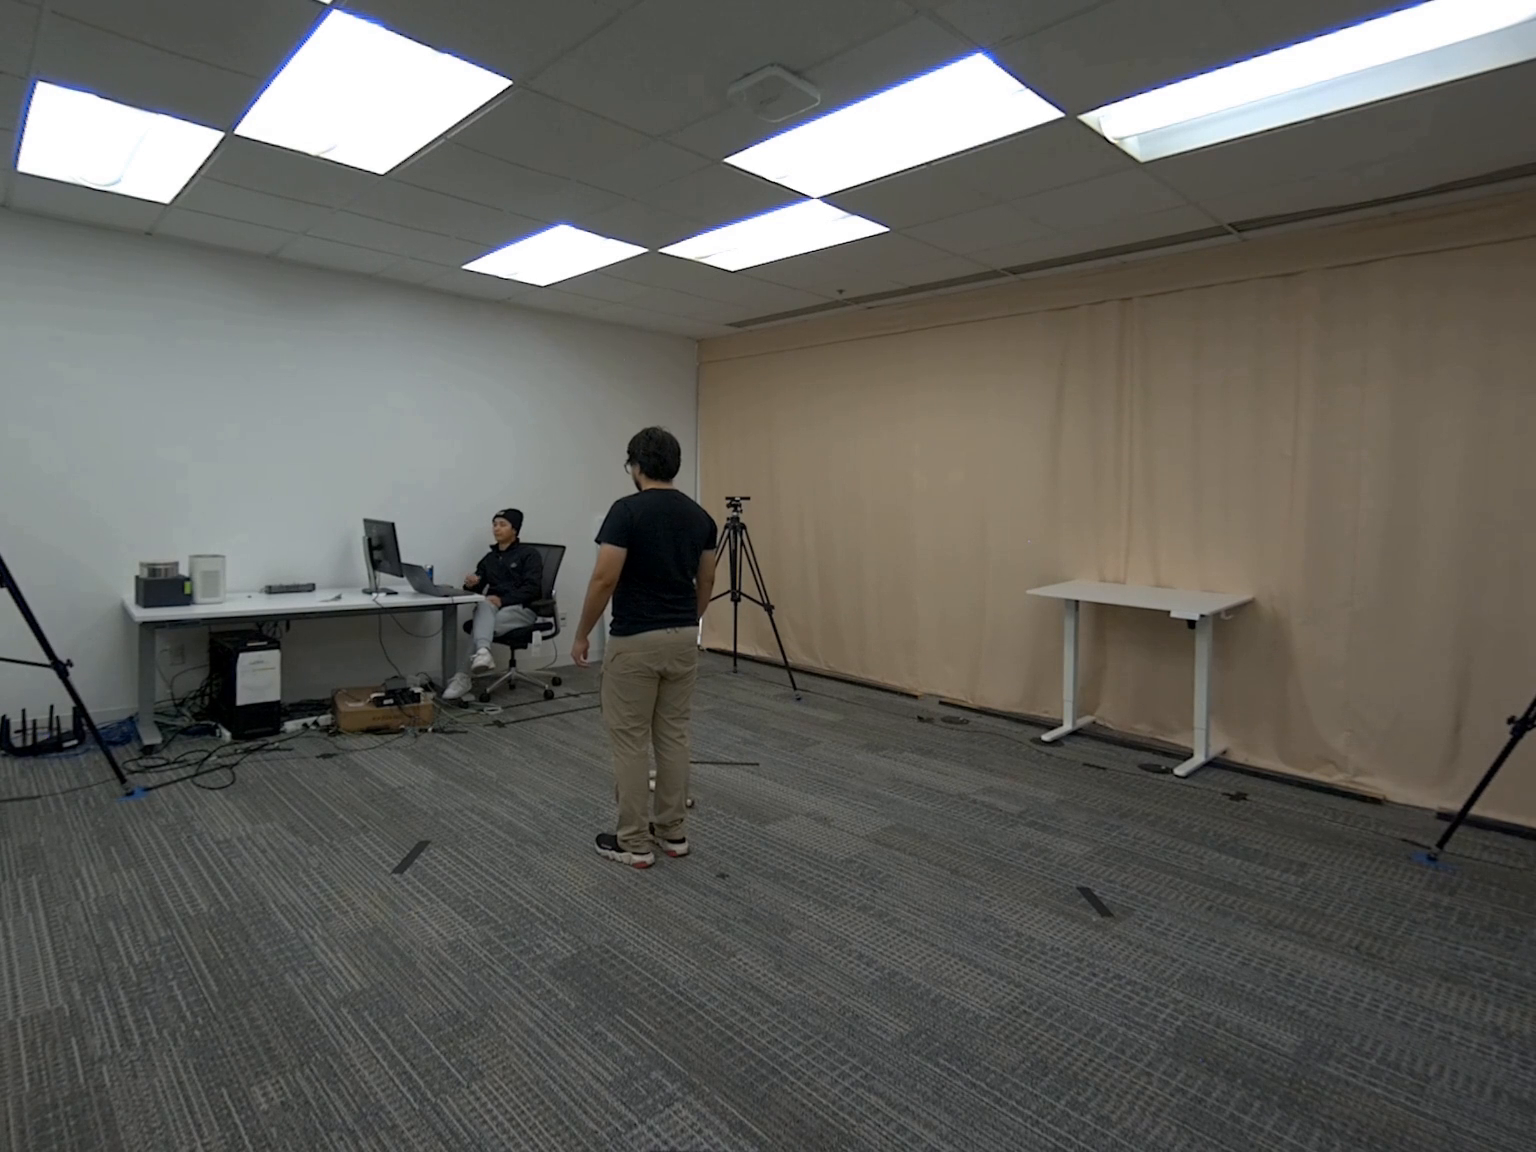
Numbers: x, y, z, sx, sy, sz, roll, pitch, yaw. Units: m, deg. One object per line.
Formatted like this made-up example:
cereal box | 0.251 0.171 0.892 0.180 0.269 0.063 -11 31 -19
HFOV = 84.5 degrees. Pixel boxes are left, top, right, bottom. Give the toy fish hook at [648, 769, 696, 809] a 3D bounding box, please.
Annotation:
toy fish hook | -0.465 1.005 4.005 0.220 0.048 0.519 -3 7 -37
